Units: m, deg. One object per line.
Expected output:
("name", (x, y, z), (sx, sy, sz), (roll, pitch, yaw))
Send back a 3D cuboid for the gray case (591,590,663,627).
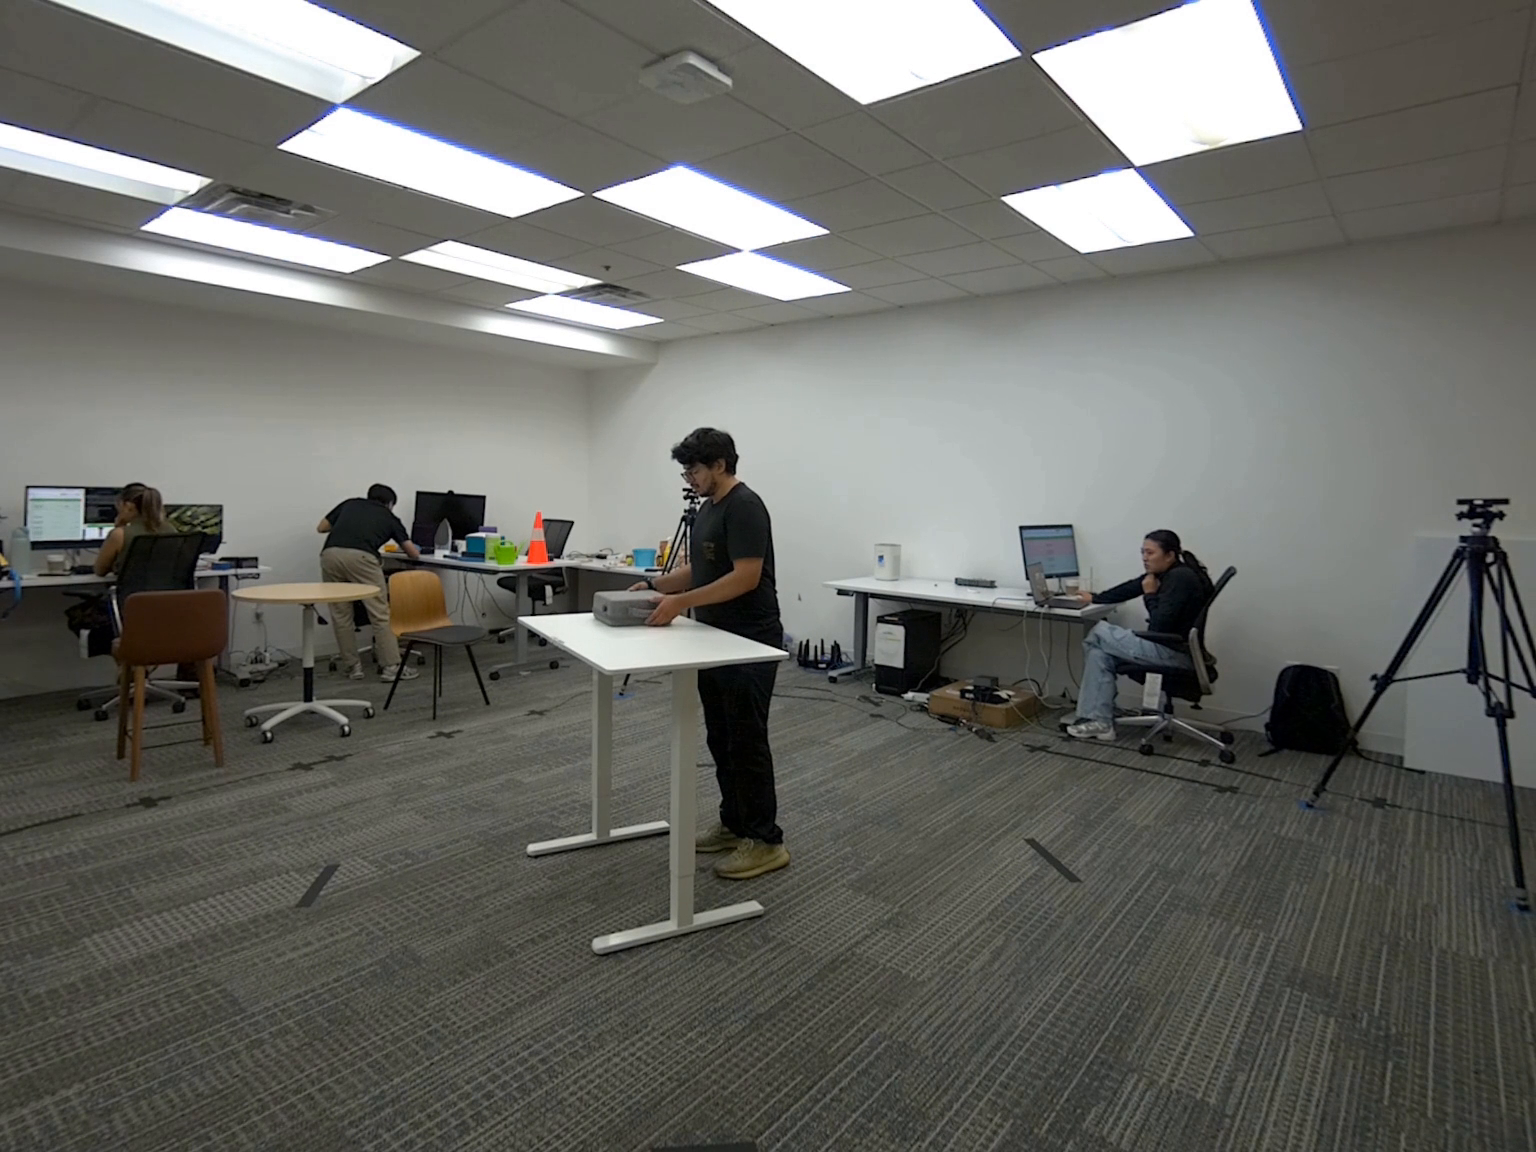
("gray case", (-0.528, 0.119, 3.220), (0.251, 0.103, 0.268), (-5, 10, -25))
